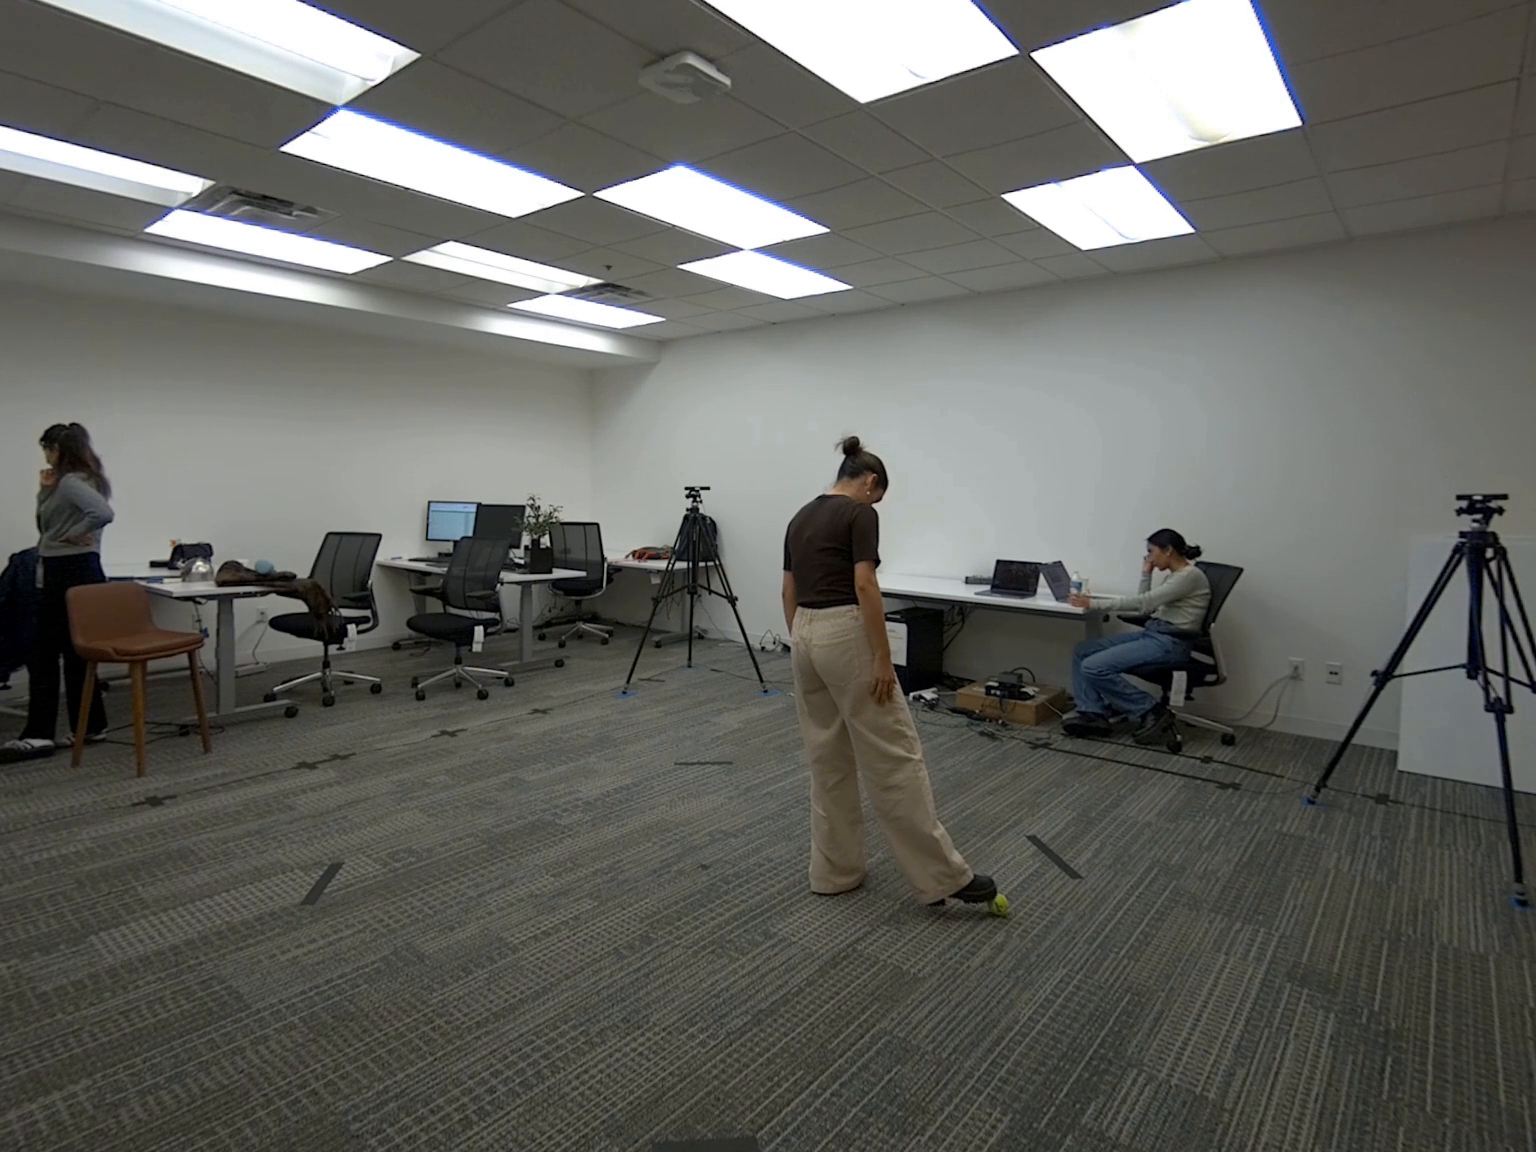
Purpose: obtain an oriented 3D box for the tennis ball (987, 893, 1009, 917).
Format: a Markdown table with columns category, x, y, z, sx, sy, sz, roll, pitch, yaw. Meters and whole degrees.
| category | x | y | z | sx | sy | sz | roll | pitch | yaw |
| --- | --- | --- | --- | --- | --- | --- | --- | --- | --- |
| tennis ball | 0.755 | 1.084 | 2.813 | 0.066 | 0.066 | 0.067 | 1 | 4 | -2 |
